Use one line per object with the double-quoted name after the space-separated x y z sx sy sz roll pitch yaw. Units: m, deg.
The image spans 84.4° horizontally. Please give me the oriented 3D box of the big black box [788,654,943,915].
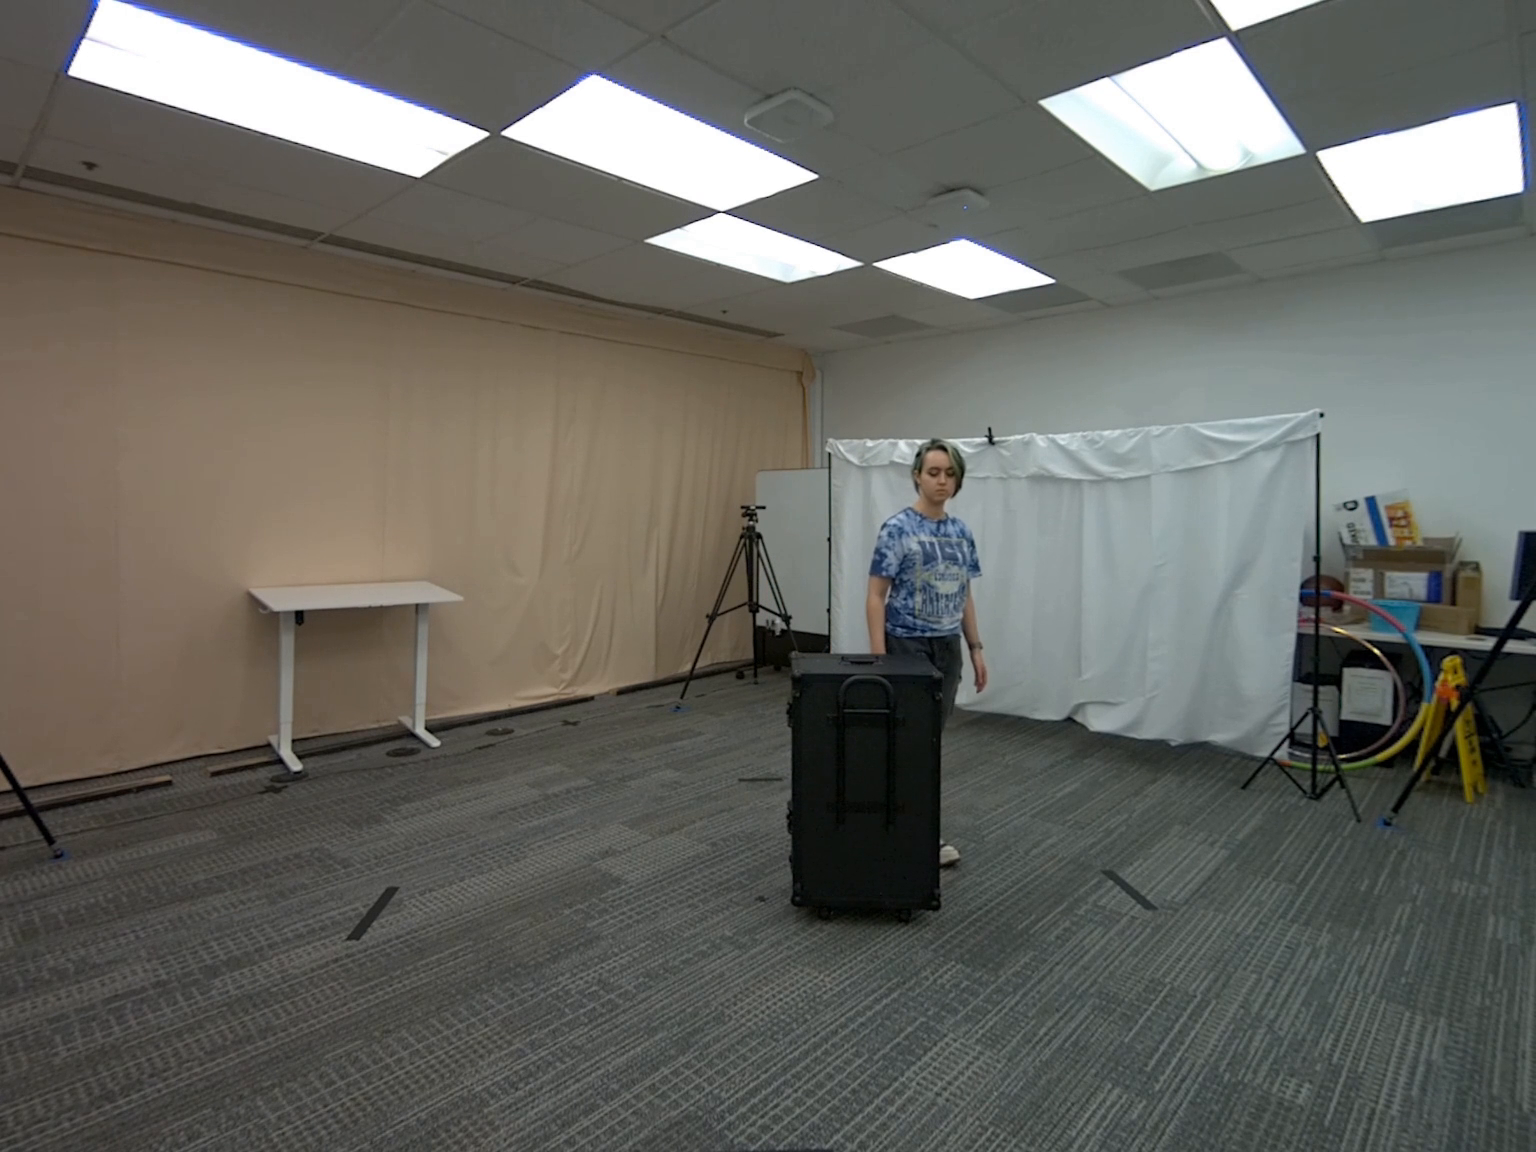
0.328 0.726 2.908 0.524 0.859 0.396 0 5 3 "big black box"
